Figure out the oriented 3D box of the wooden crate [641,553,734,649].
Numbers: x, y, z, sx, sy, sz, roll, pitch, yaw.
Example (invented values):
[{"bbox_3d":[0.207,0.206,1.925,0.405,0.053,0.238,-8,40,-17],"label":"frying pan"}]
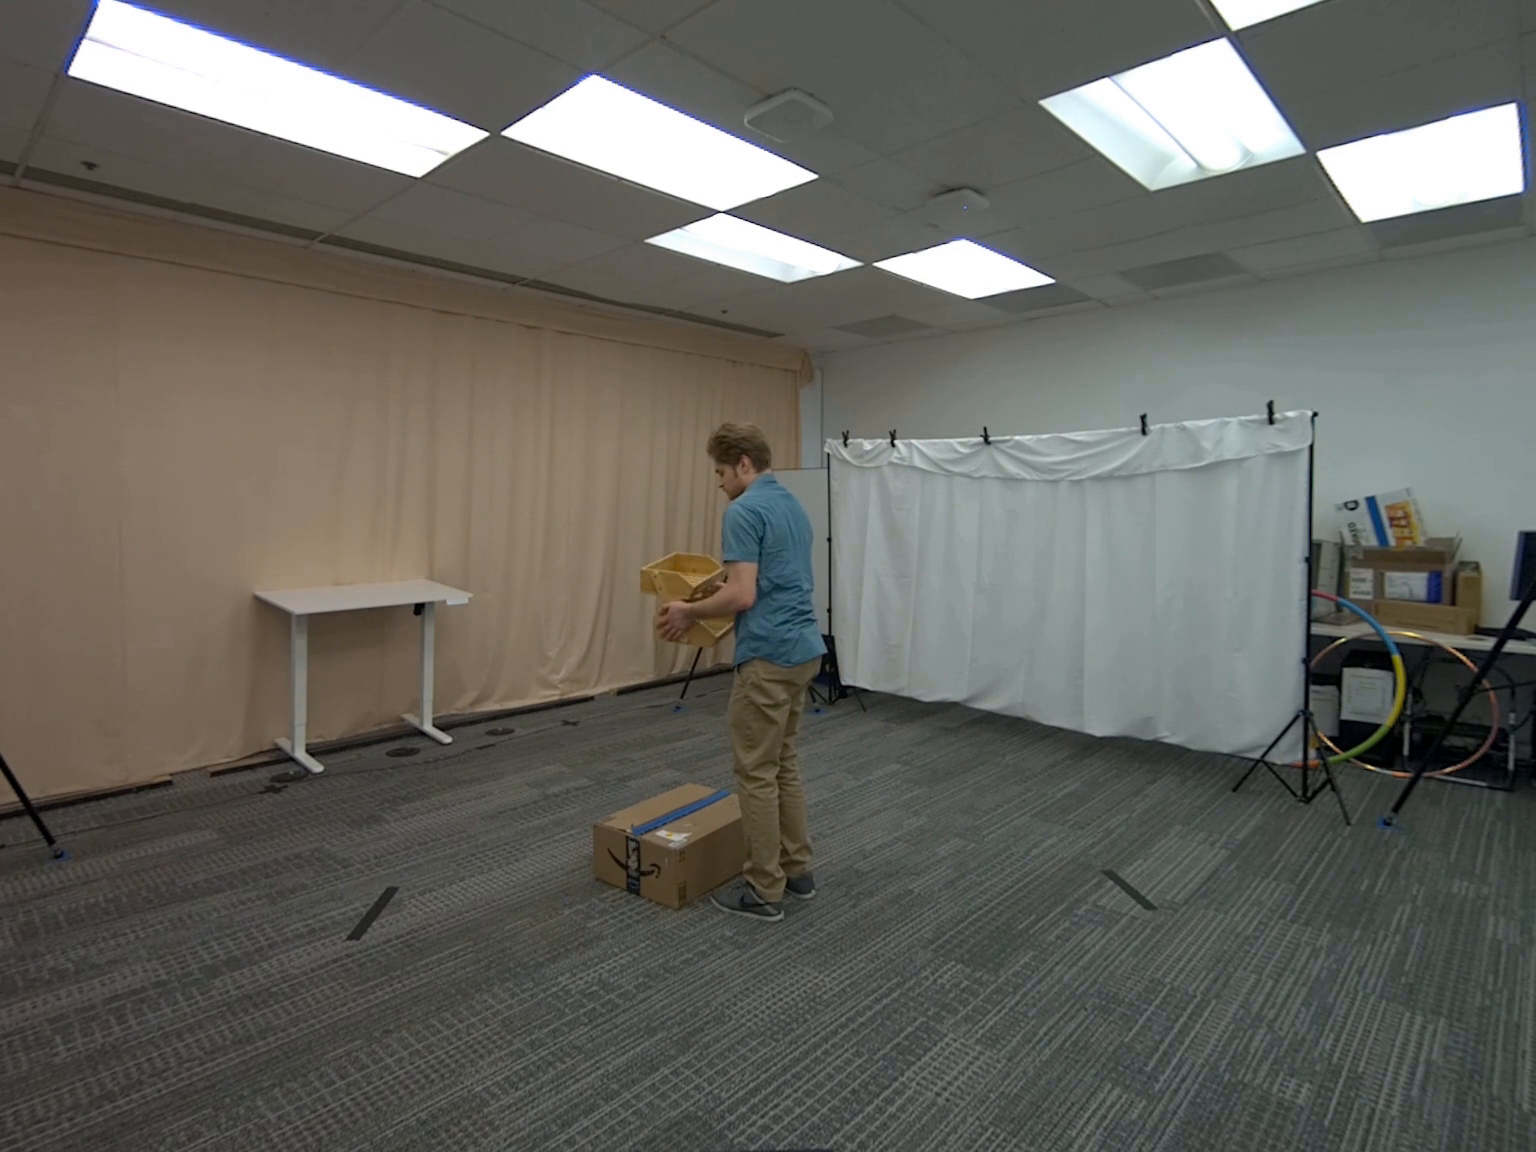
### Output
[{"bbox_3d":[-0.263,0.079,3.136,0.308,0.271,0.320,5,13,18],"label":"wooden crate"}]
